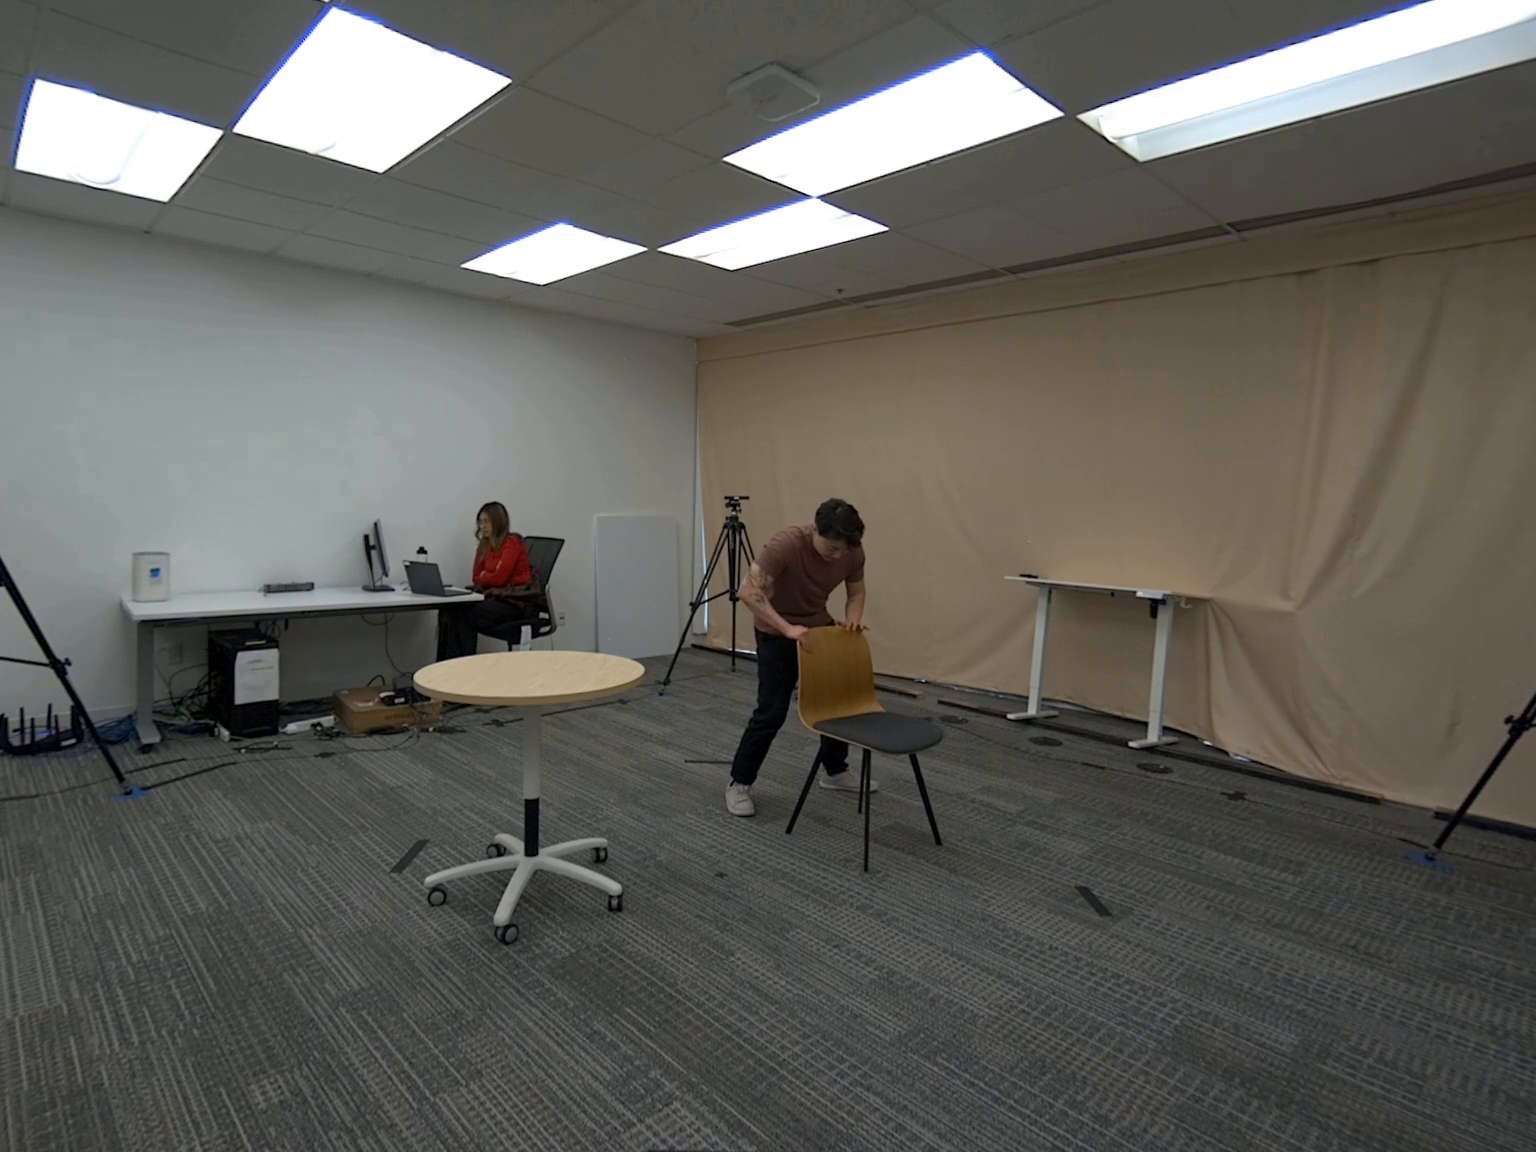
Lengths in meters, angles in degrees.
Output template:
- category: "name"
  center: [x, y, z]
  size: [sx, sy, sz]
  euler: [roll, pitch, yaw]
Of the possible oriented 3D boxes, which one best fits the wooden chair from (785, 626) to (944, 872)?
- category: "wooden chair"
  center: [0.399, 0.660, 3.427]
  size: [0.467, 0.878, 0.535]
  euler: [-1, -1, -39]
